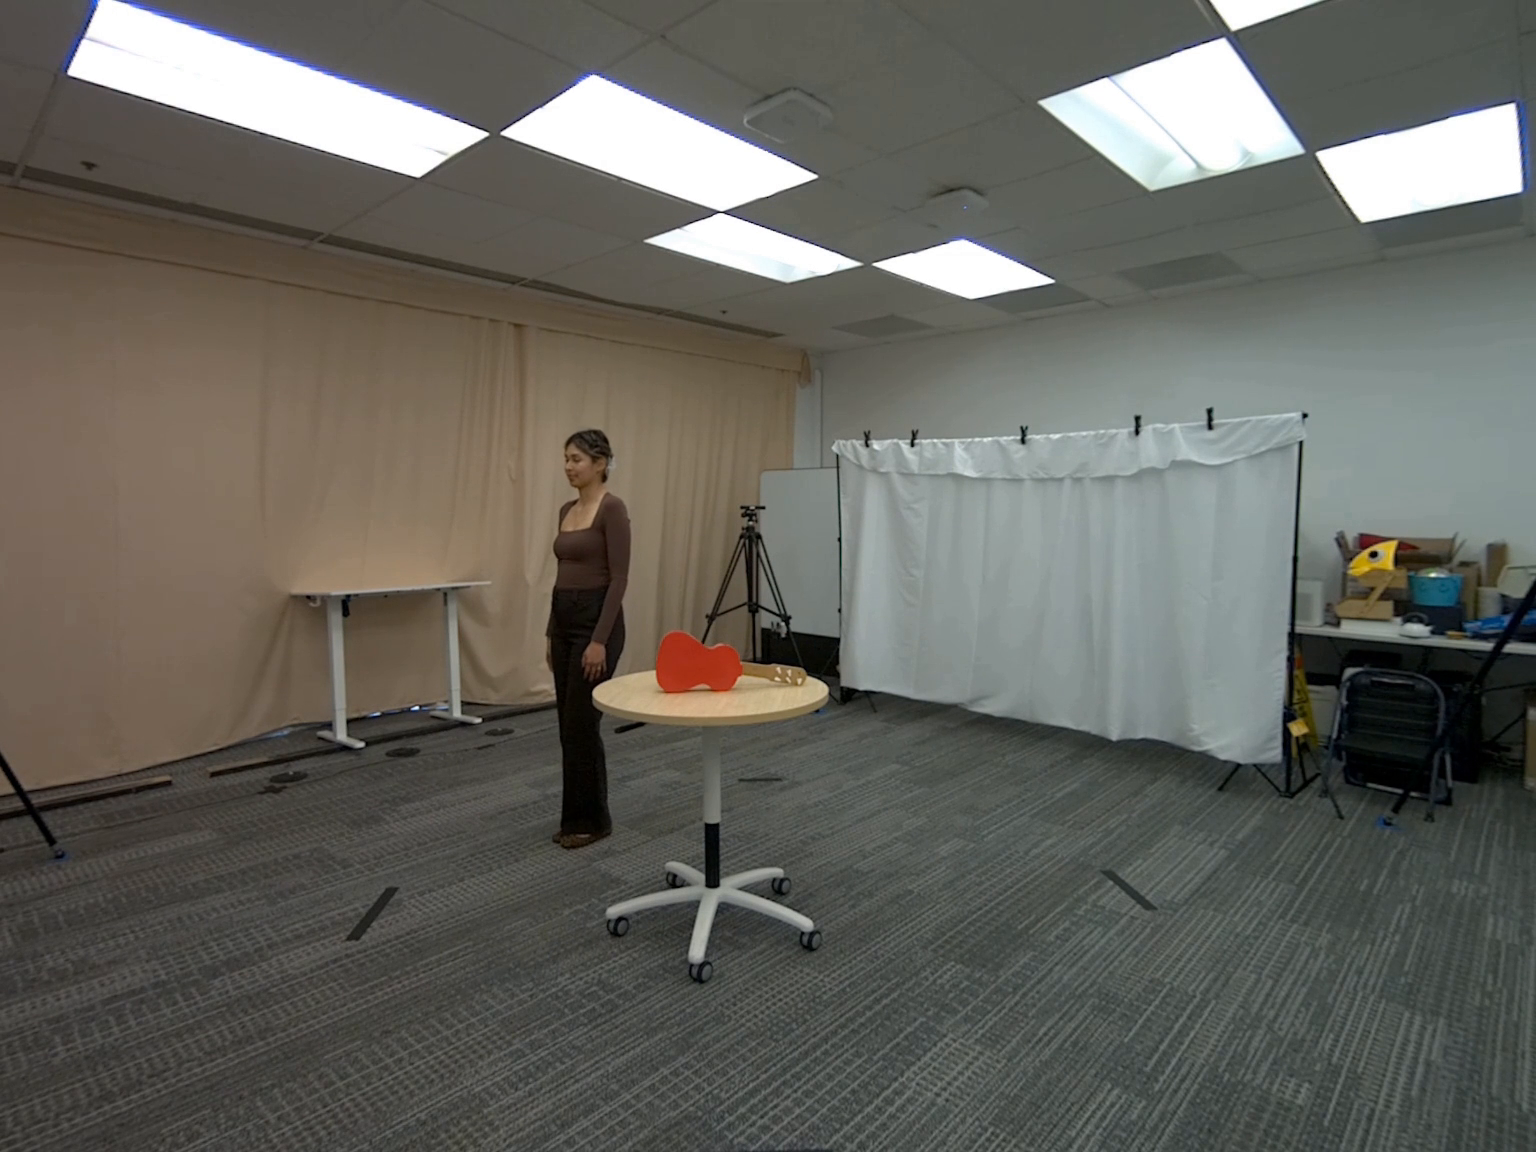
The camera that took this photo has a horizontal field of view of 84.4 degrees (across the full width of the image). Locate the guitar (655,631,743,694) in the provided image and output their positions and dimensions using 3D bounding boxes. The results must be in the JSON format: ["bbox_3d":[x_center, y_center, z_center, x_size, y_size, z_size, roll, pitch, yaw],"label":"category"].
[{"bbox_3d":[-0.111,0.279,2.720,0.494,0.193,0.071,0,0,-7],"label":"guitar"}]
